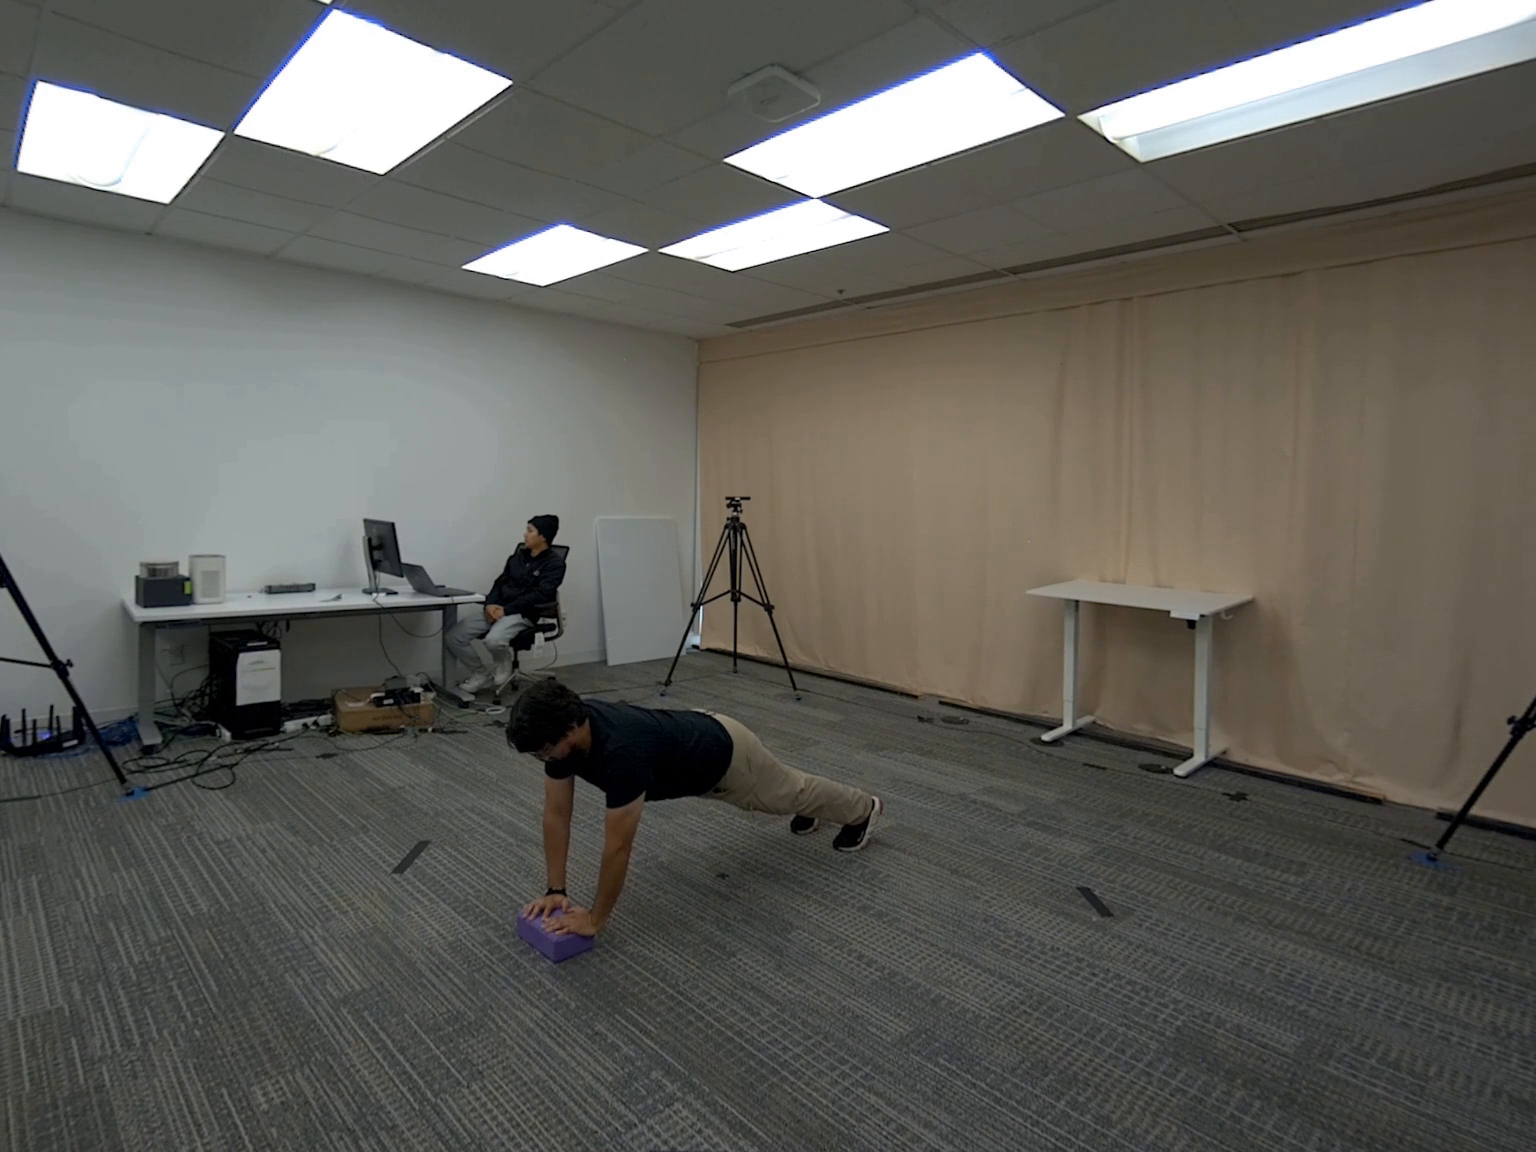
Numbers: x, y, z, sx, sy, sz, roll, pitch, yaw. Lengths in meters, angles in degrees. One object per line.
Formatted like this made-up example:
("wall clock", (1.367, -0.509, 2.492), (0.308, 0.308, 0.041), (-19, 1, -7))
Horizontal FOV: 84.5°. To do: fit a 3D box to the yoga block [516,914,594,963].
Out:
("yoga block", (-0.669, 1.105, 2.619), (0.235, 0.076, 0.146), (7, 9, 44))
